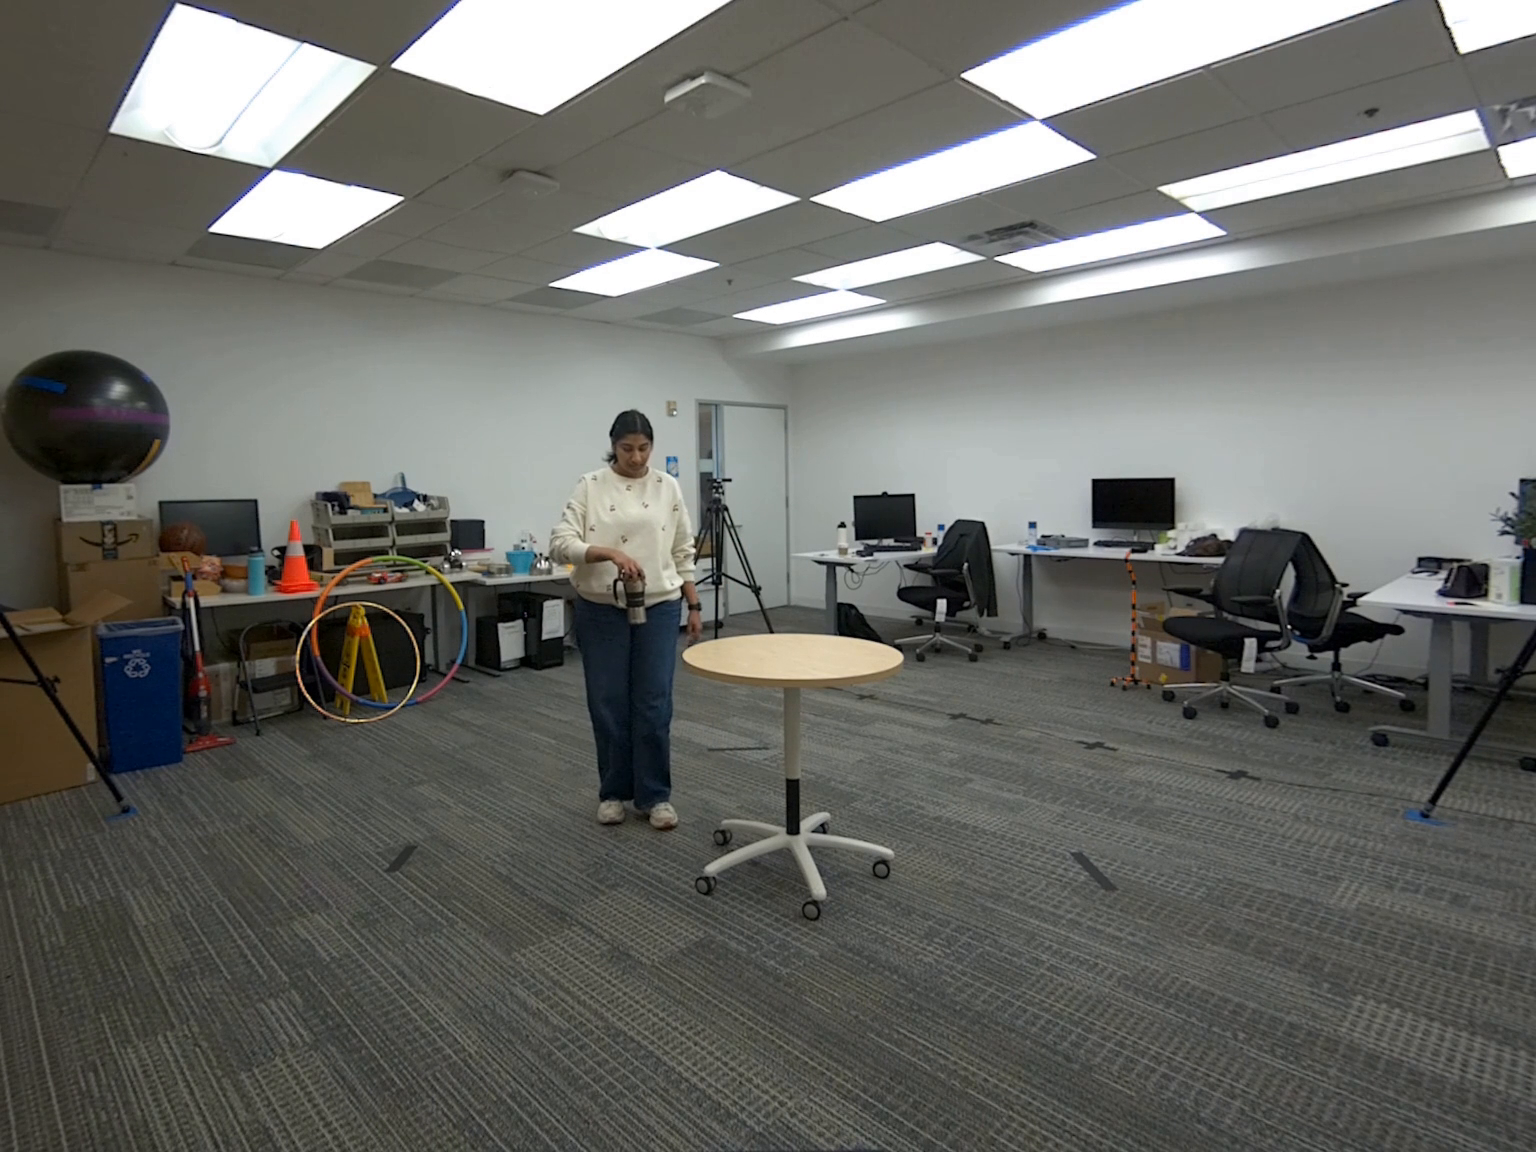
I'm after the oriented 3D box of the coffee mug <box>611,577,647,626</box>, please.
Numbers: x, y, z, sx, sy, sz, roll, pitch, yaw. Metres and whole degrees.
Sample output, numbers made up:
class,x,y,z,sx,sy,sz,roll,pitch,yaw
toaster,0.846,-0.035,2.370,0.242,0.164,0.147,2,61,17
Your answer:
class,x,y,z,sx,sy,sz,roll,pitch,yaw
coffee mug,-0.534,0.086,3.281,0.126,0.201,0.086,8,16,43
